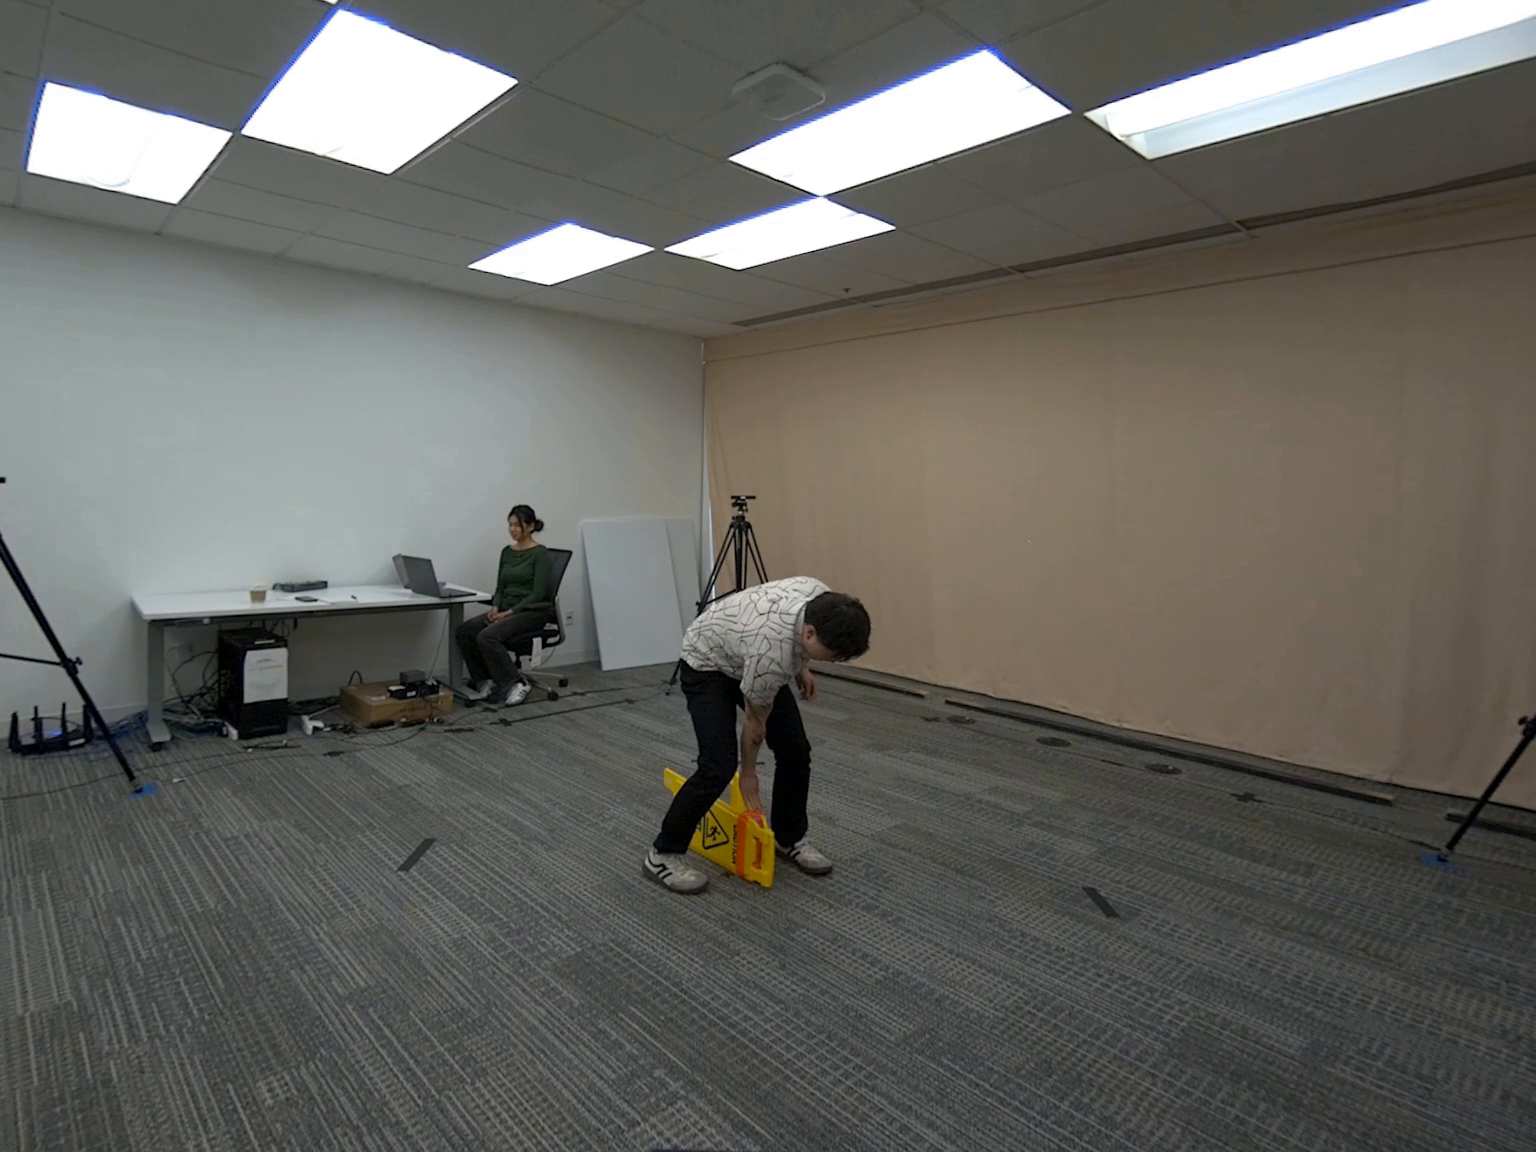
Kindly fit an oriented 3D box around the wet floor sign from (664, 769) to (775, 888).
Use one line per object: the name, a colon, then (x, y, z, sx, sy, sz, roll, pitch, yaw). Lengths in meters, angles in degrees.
wet floor sign: (-0.148, 0.959, 3.237, 0.284, 0.281, 0.661, -1, 7, -28)
